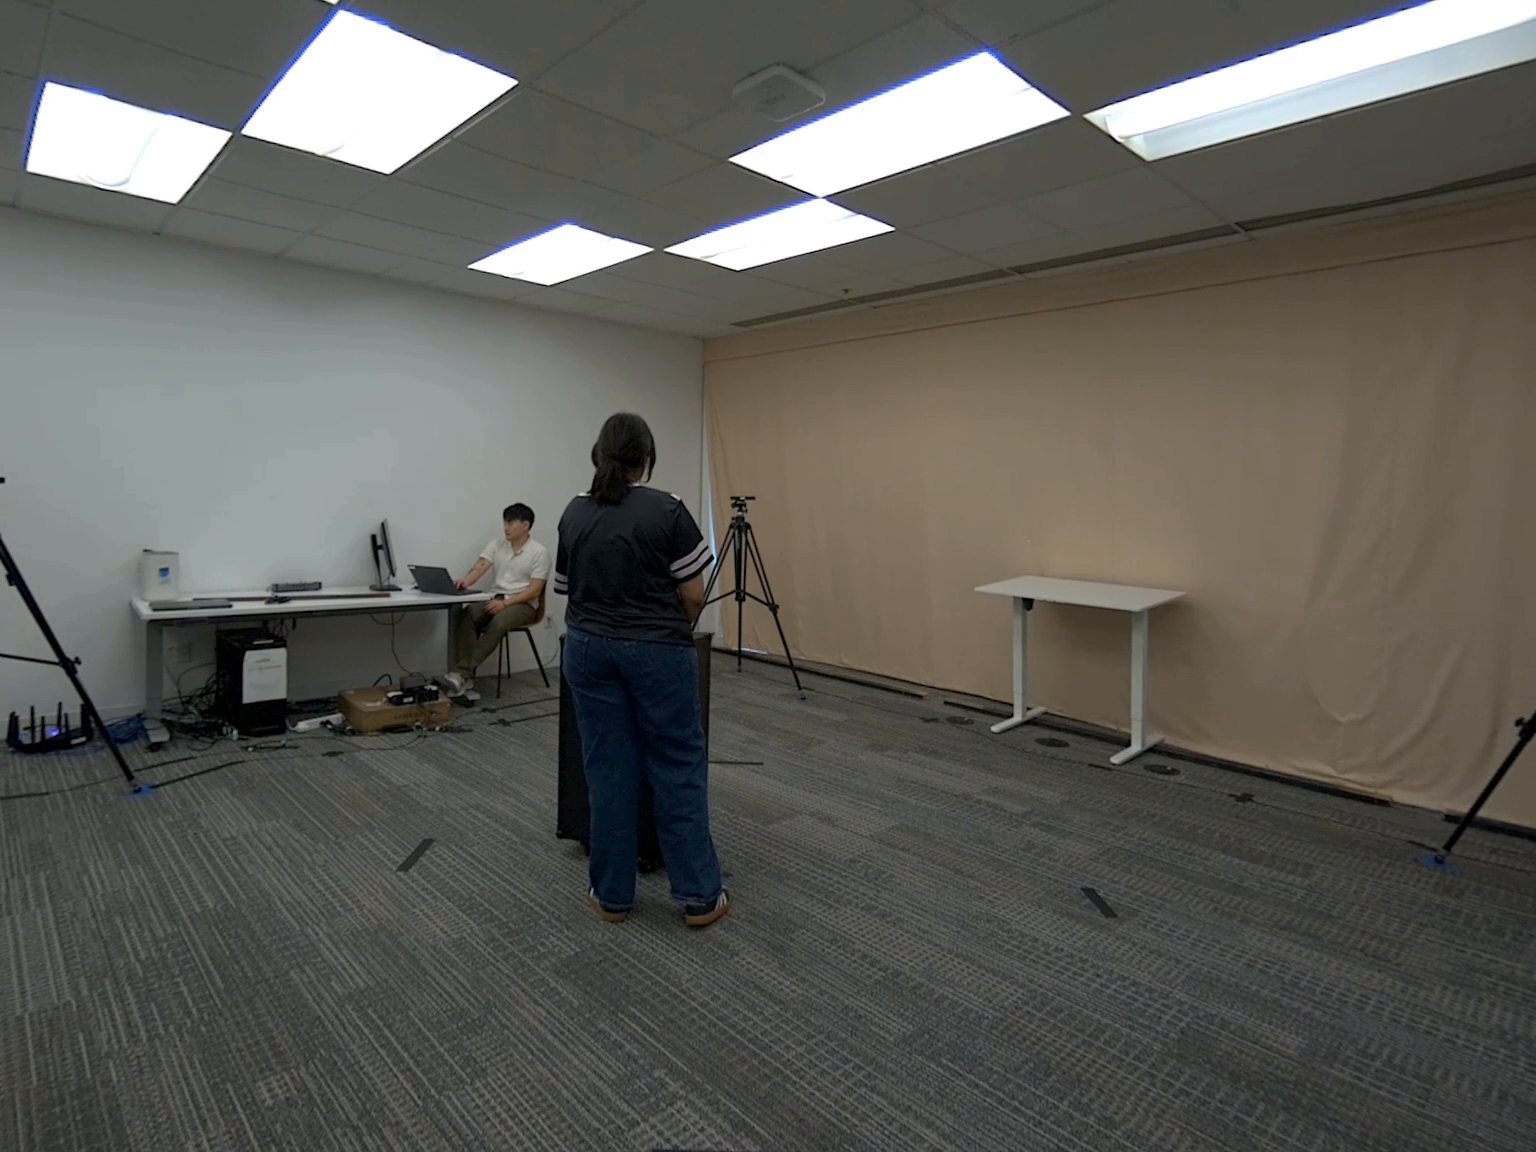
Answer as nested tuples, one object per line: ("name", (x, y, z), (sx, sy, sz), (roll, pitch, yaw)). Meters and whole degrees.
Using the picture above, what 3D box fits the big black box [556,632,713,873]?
("big black box", (-0.528, 0.656, 3.304), (0.532, 0.867, 0.380), (3, 3, 20))
